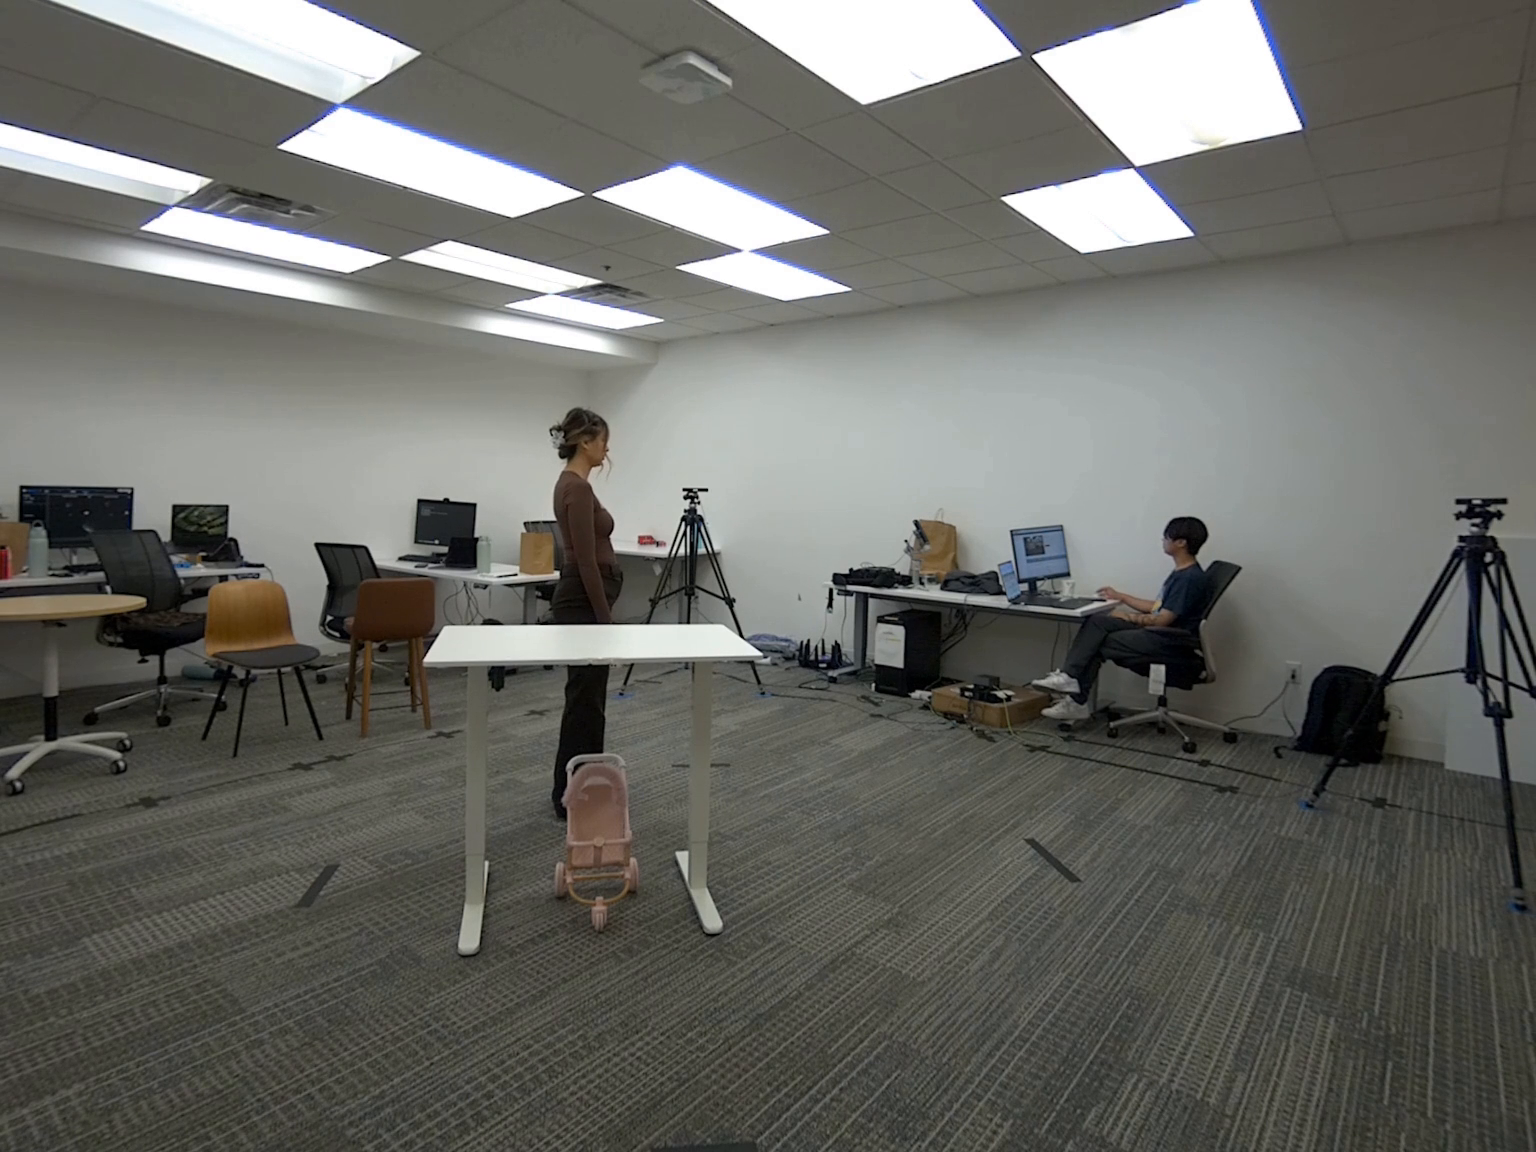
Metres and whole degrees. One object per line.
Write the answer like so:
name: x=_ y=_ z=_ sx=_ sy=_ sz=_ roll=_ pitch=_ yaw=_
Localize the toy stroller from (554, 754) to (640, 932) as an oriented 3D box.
toy stroller: x=-0.583 y=0.865 z=2.836 sx=0.279 sy=0.542 sz=0.340 roll=0 pitch=-13 yaw=-9
